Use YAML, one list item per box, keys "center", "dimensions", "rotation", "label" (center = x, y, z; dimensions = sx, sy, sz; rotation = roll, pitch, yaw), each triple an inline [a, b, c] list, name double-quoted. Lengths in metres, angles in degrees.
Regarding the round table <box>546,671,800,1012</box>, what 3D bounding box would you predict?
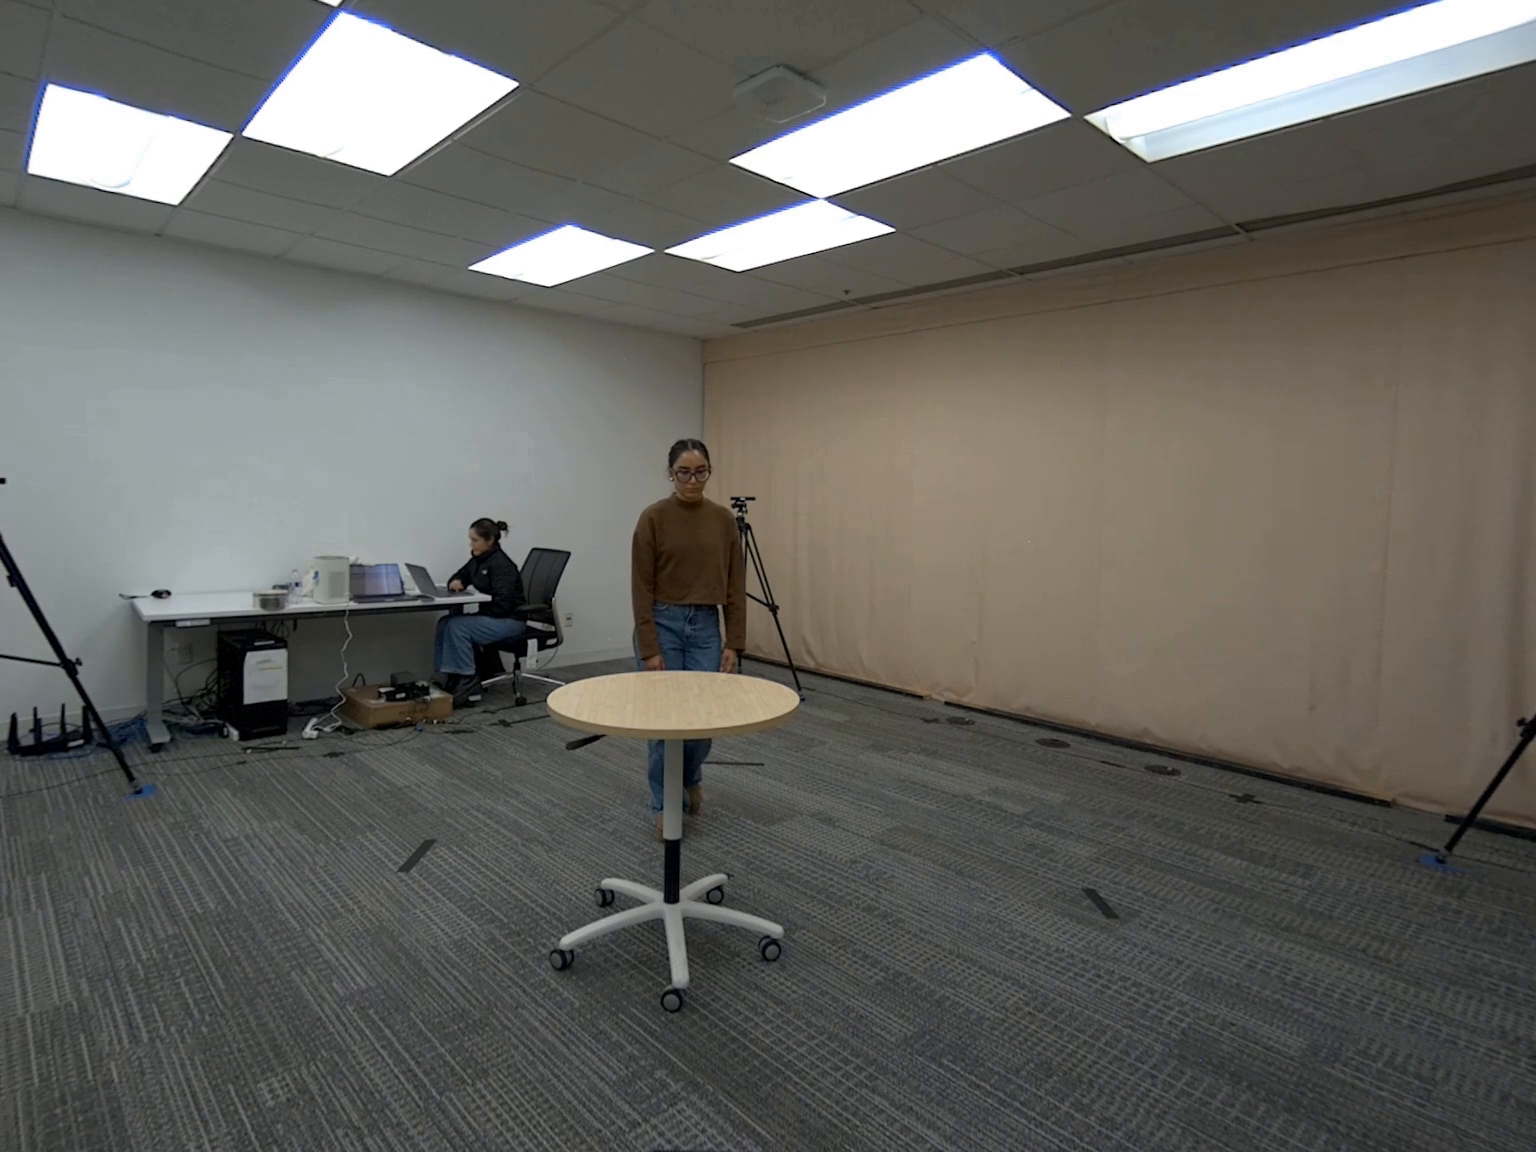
- center: [-0.323, 0.758, 2.590]
  dimensions: [0.784, 0.785, 0.787]
  rotation: [1, 3, -1]
  label: "round table"
